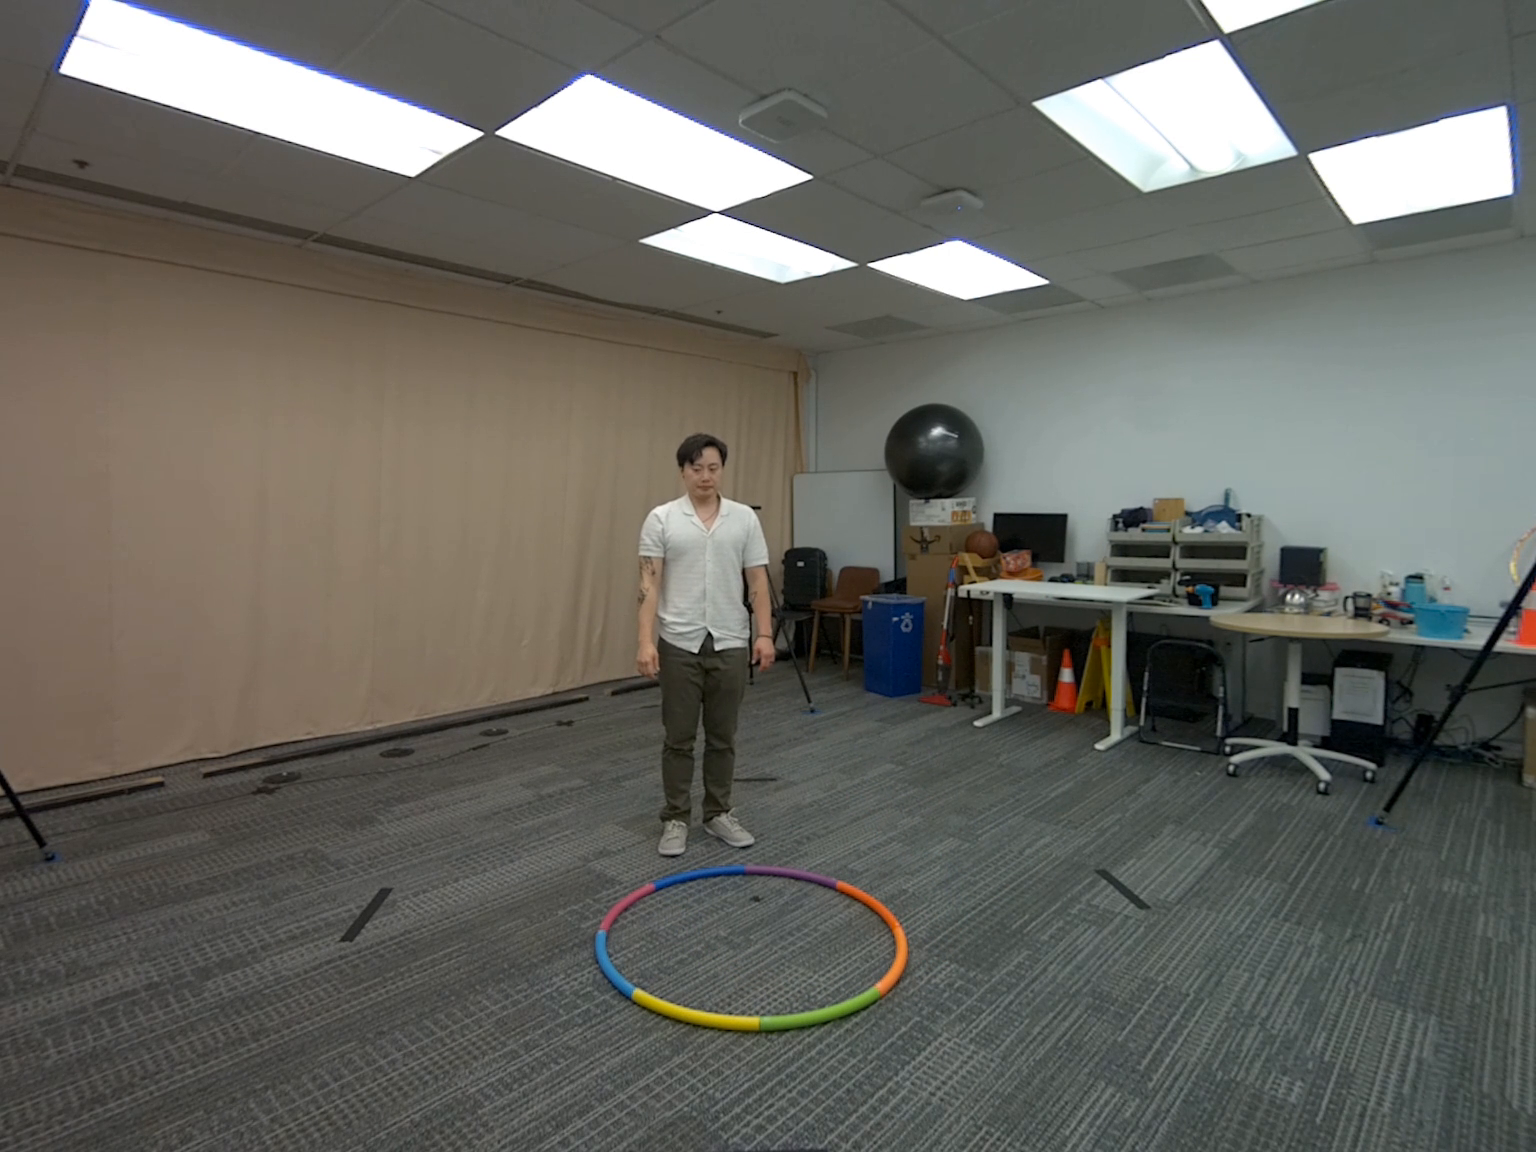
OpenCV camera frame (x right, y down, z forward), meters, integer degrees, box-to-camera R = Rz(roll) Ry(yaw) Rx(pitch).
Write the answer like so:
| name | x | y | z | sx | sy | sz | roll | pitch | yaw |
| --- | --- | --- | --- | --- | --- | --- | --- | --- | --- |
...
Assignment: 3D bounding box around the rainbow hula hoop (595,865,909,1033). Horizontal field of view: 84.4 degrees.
| name | x | y | z | sx | sy | sz | roll | pitch | yaw |
| --- | --- | --- | --- | --- | --- | --- | --- | --- | --- |
| rainbow hula hoop | -0.055 | 1.135 | 2.711 | 0.978 | 0.035 | 0.982 | -1 | 4 | -2 |
